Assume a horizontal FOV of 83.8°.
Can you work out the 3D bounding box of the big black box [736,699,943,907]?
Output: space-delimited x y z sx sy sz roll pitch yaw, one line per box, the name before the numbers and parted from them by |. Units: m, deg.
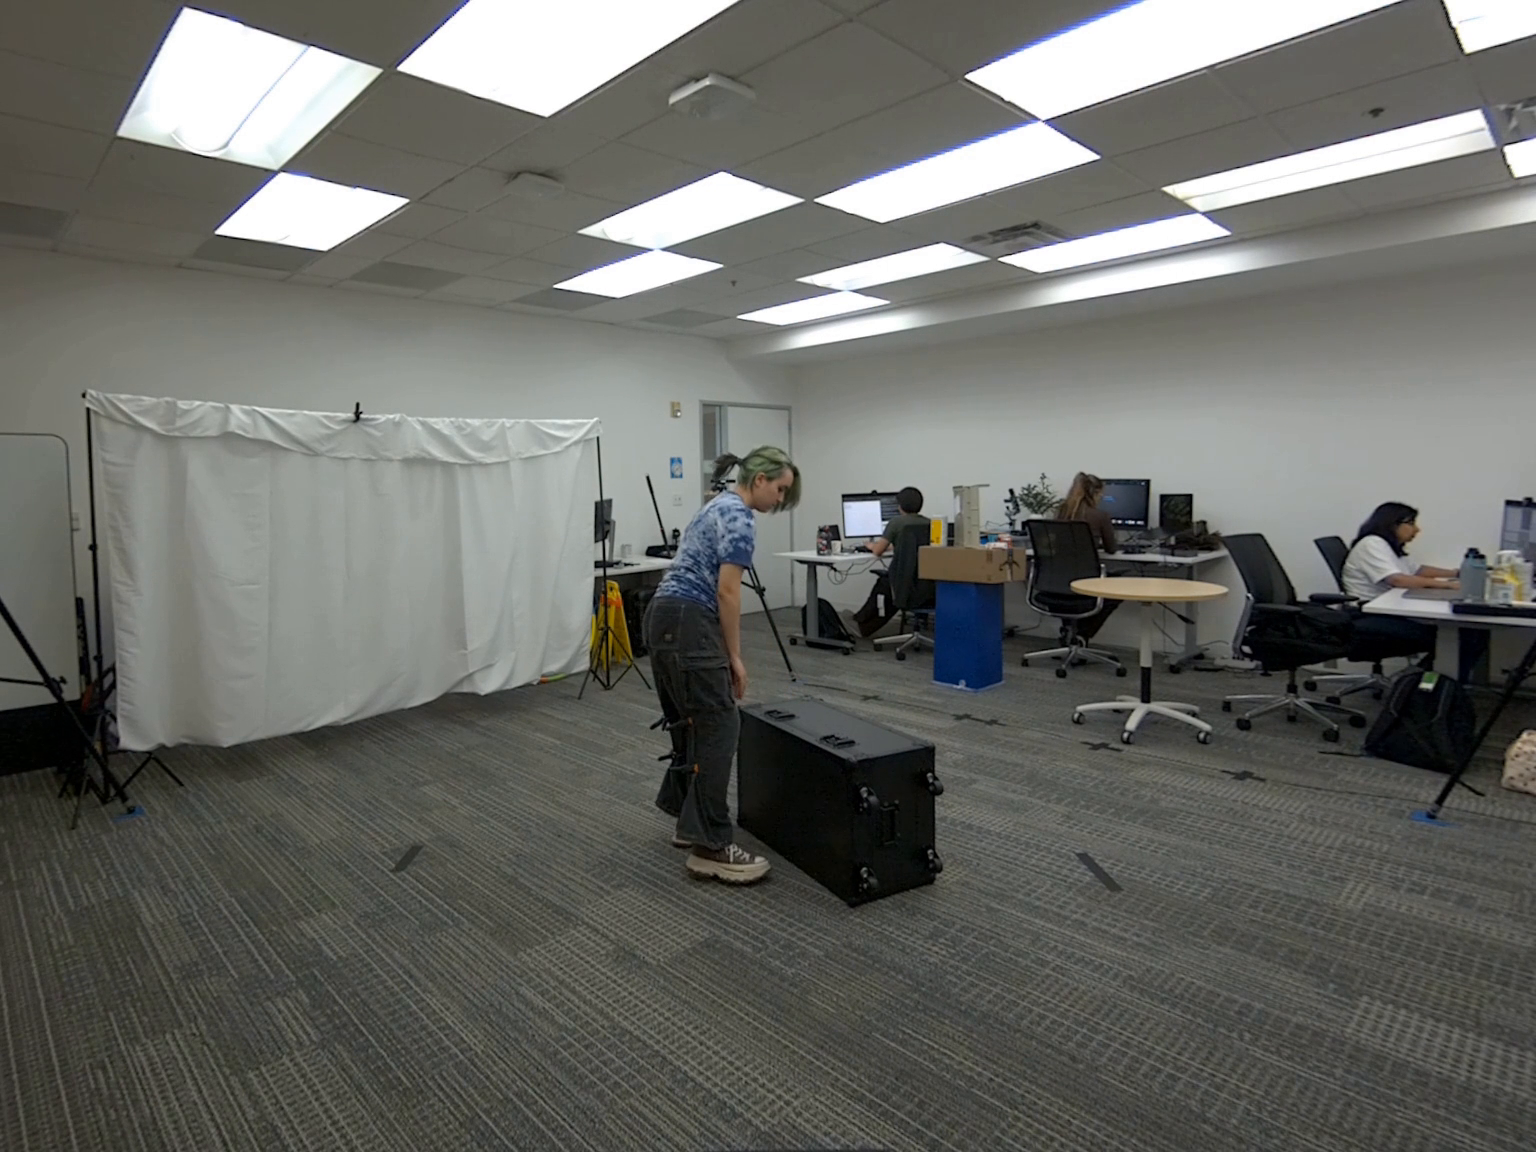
big black box | 0.251 0.791 3.160 0.387 0.519 0.885 -3 6 -29
